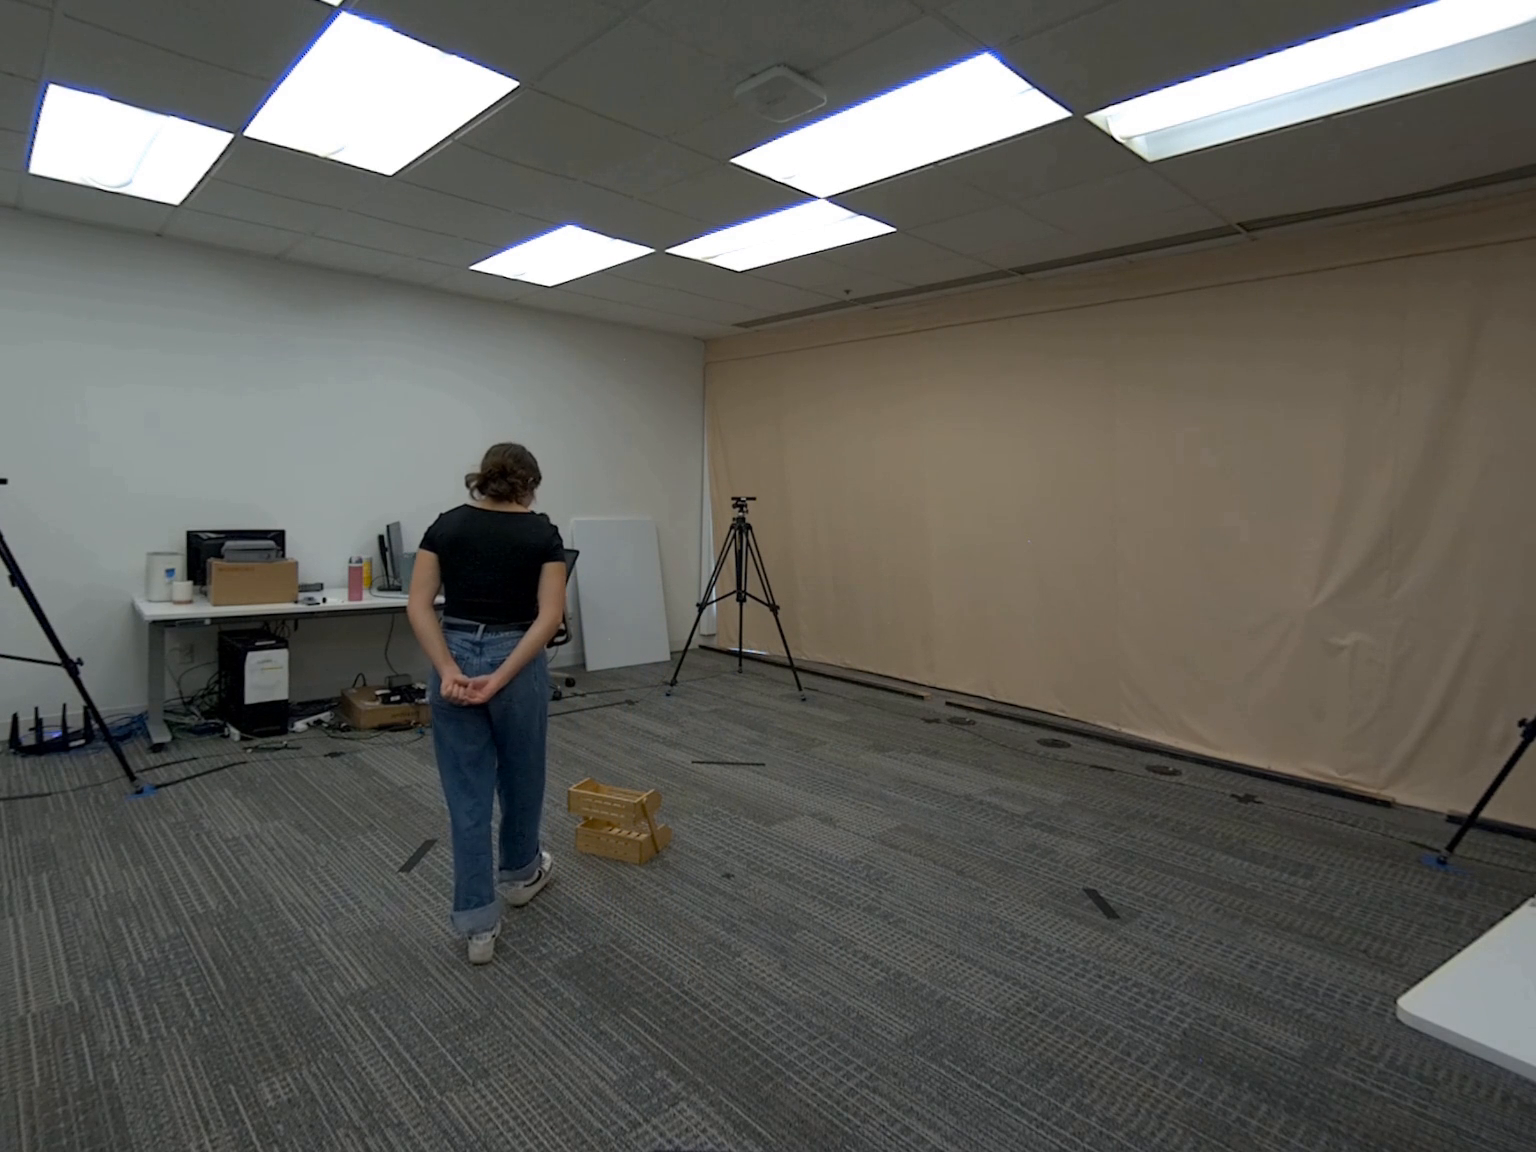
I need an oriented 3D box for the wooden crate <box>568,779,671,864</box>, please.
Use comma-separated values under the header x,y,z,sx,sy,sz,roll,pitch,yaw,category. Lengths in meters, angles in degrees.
x,y,z,sx,sy,sz,roll,pitch,yaw,category
-0.587,0.945,3.326,0.330,0.272,0.297,3,5,22,wooden crate
